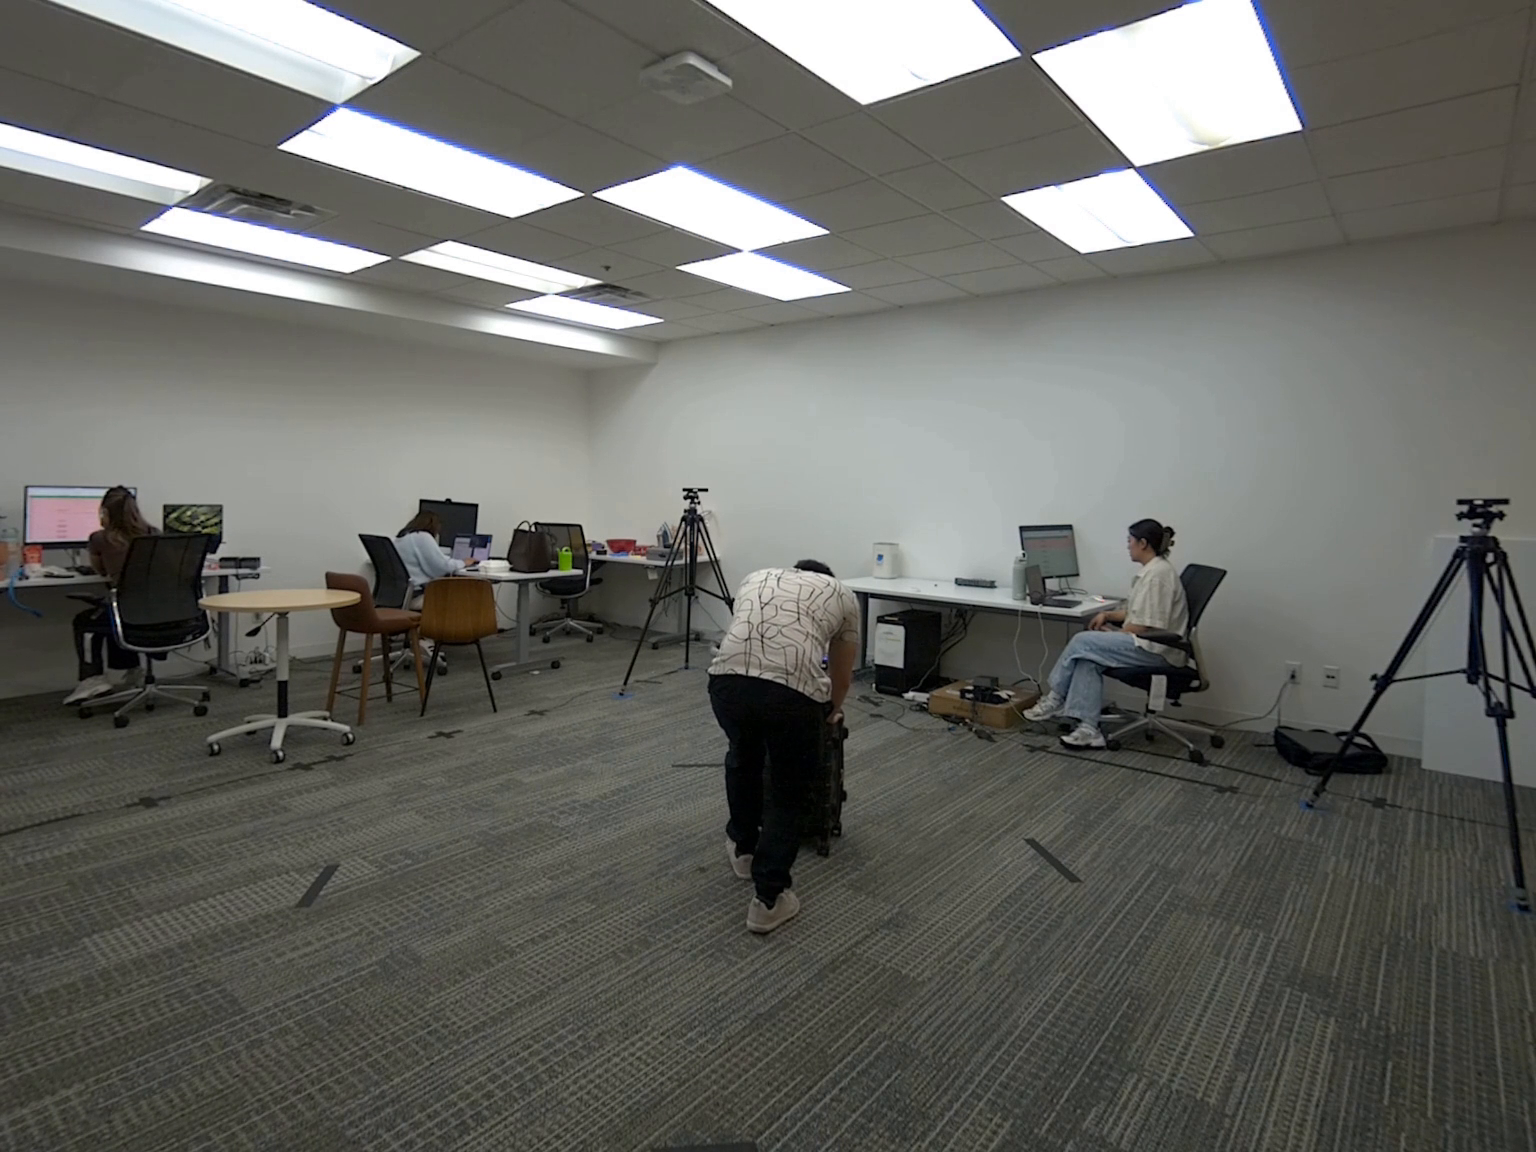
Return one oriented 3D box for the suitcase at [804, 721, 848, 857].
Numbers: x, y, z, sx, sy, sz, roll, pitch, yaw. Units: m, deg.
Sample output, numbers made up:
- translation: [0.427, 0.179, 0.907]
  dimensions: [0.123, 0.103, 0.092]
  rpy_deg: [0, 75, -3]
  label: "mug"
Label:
- translation: [0.108, 0.767, 3.428]
  dimensions: [0.384, 0.549, 0.243]
  rpy_deg: [2, 1, 21]
  label: "suitcase"
